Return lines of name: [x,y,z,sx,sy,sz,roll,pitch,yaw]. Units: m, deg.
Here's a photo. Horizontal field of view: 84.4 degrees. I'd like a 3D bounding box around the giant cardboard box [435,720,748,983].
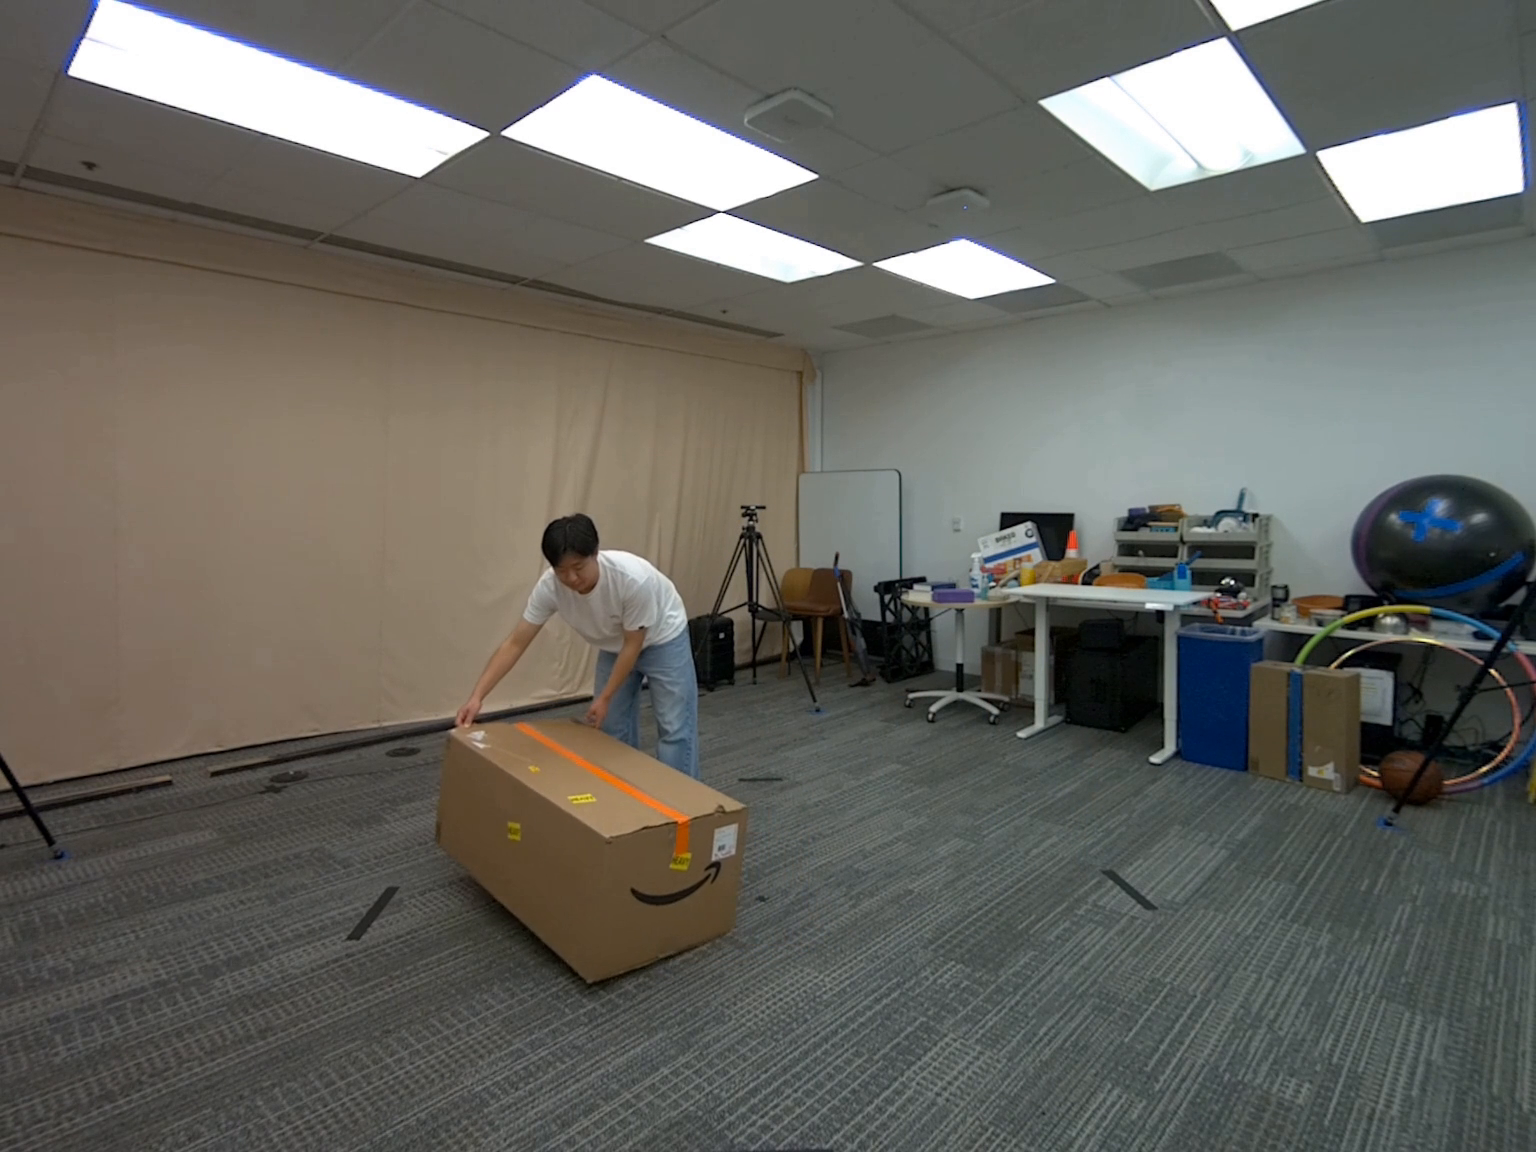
giant cardboard box: [-0.634,0.862,2.920,0.558,0.425,1.063,2,7,-45]
